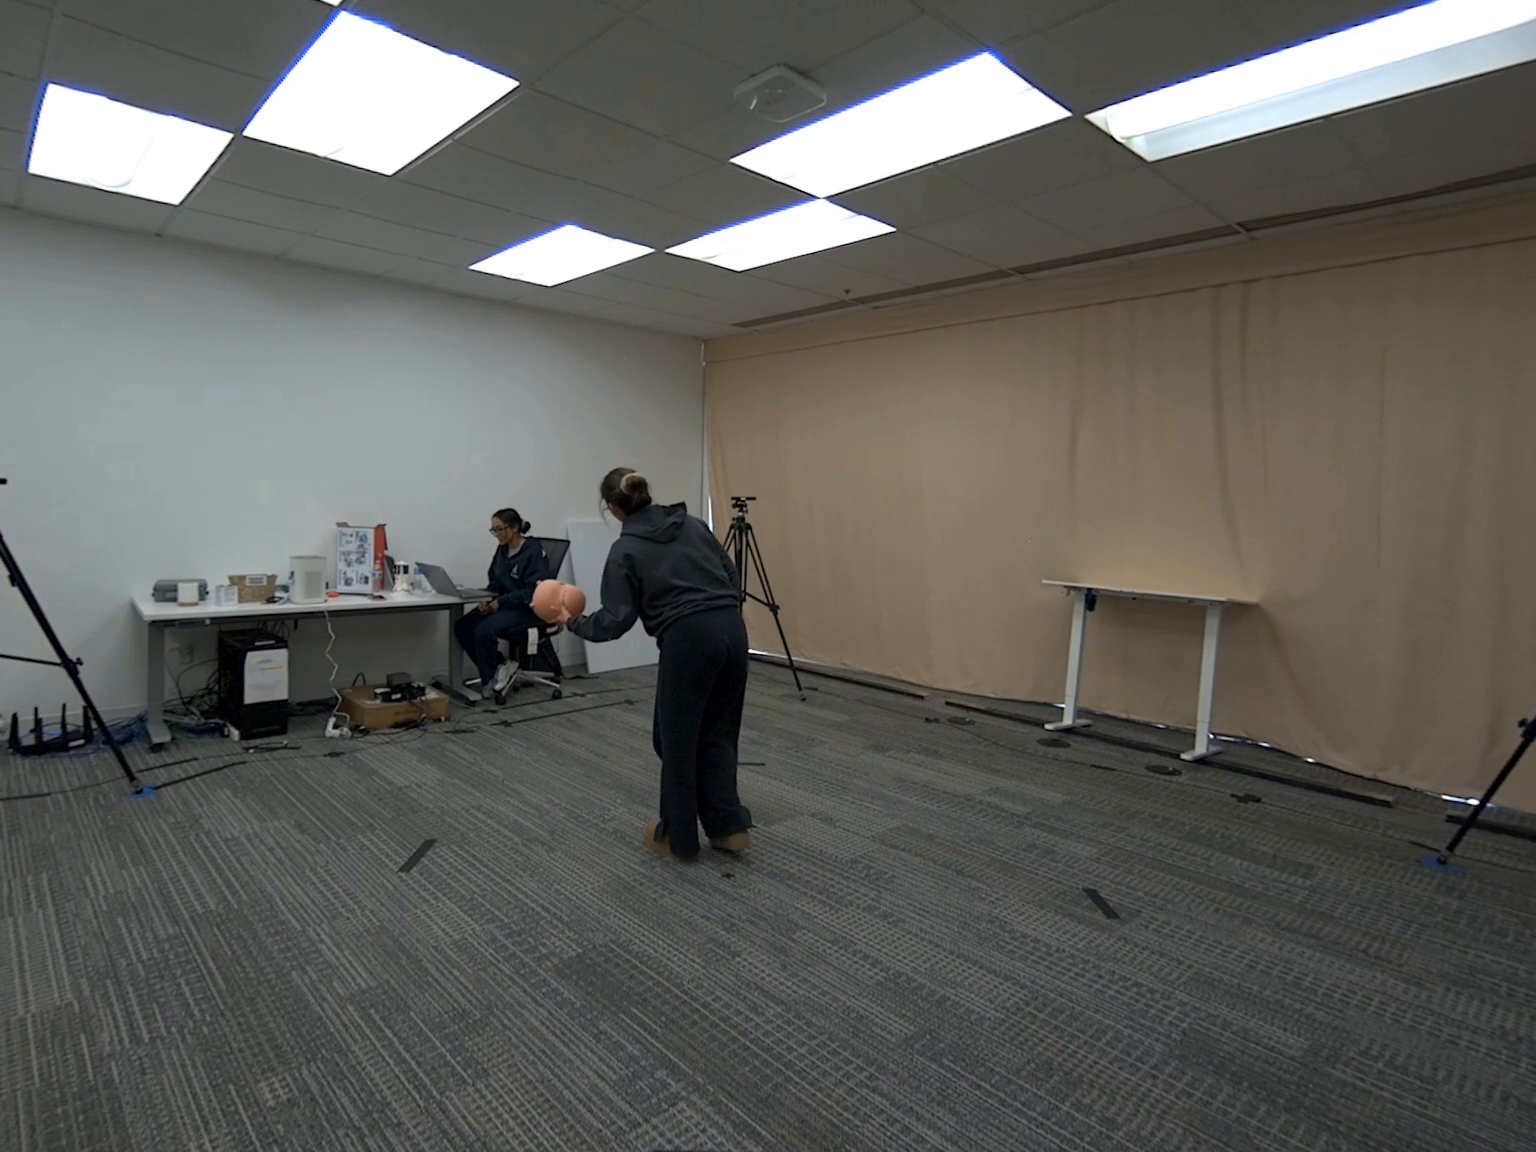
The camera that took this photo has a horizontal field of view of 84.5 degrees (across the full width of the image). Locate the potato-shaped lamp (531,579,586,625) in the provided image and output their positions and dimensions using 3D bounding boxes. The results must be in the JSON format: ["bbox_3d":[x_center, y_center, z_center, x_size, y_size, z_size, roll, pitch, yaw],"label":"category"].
[{"bbox_3d":[-0.834,0.098,3.375,0.201,0.167,0.166,0,-31,18],"label":"potato-shaped lamp"}]
